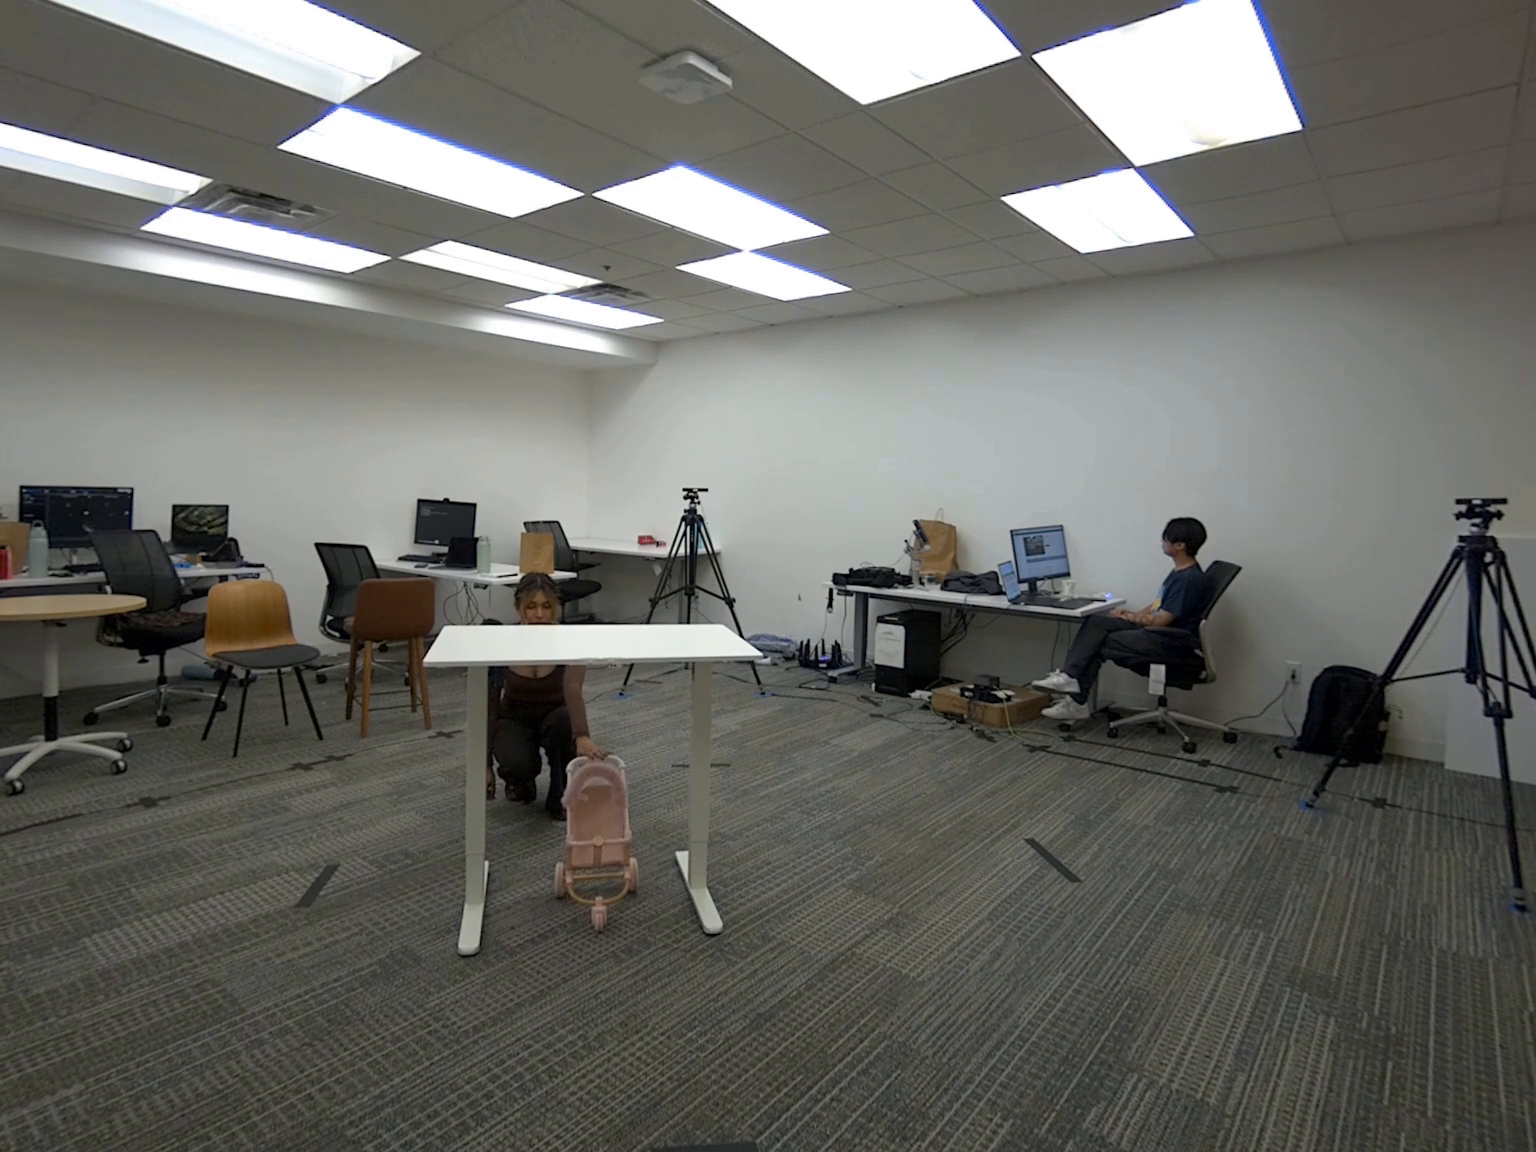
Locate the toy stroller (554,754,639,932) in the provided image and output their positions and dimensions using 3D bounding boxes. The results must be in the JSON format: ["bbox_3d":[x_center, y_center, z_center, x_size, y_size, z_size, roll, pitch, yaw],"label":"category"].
[{"bbox_3d":[-0.583,0.864,2.840,0.279,0.542,0.340,0,-13,-10],"label":"toy stroller"}]
